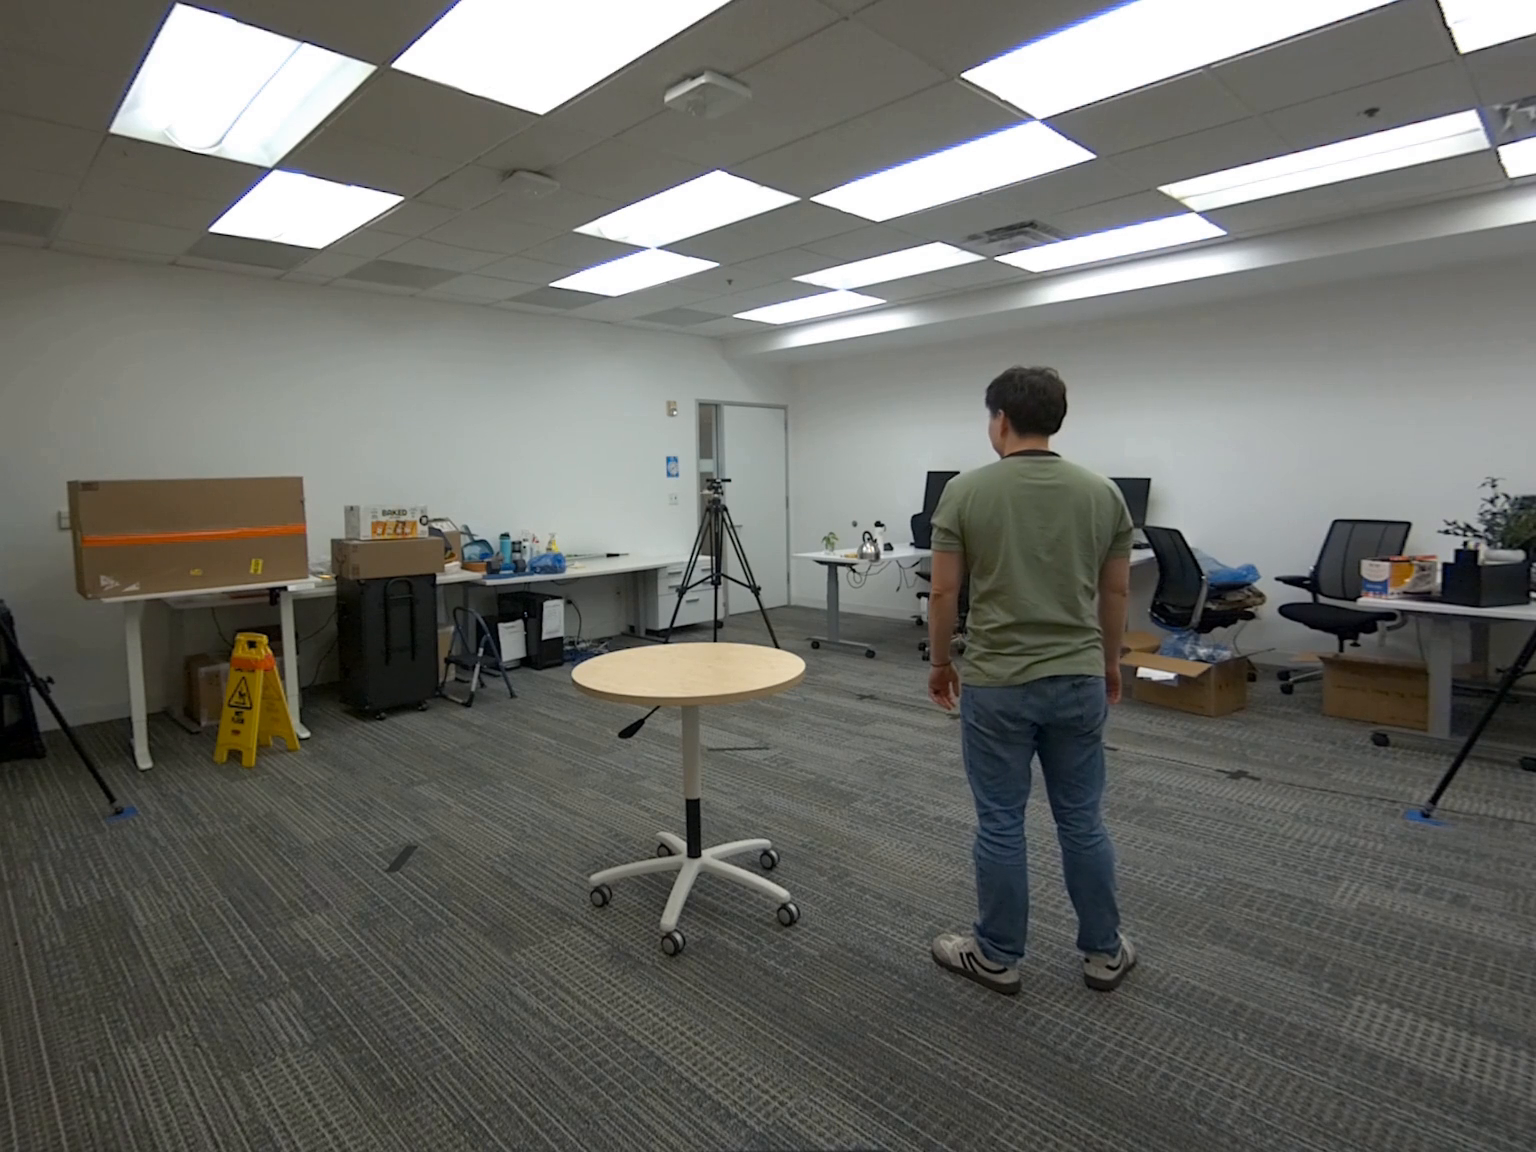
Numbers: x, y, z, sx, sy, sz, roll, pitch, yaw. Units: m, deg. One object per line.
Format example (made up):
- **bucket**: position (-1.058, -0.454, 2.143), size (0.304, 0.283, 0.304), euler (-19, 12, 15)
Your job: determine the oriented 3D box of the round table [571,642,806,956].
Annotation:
- **round table**: position (-0.239, 0.690, 2.841), size (0.763, 0.790, 0.768), euler (-2, 5, -2)
